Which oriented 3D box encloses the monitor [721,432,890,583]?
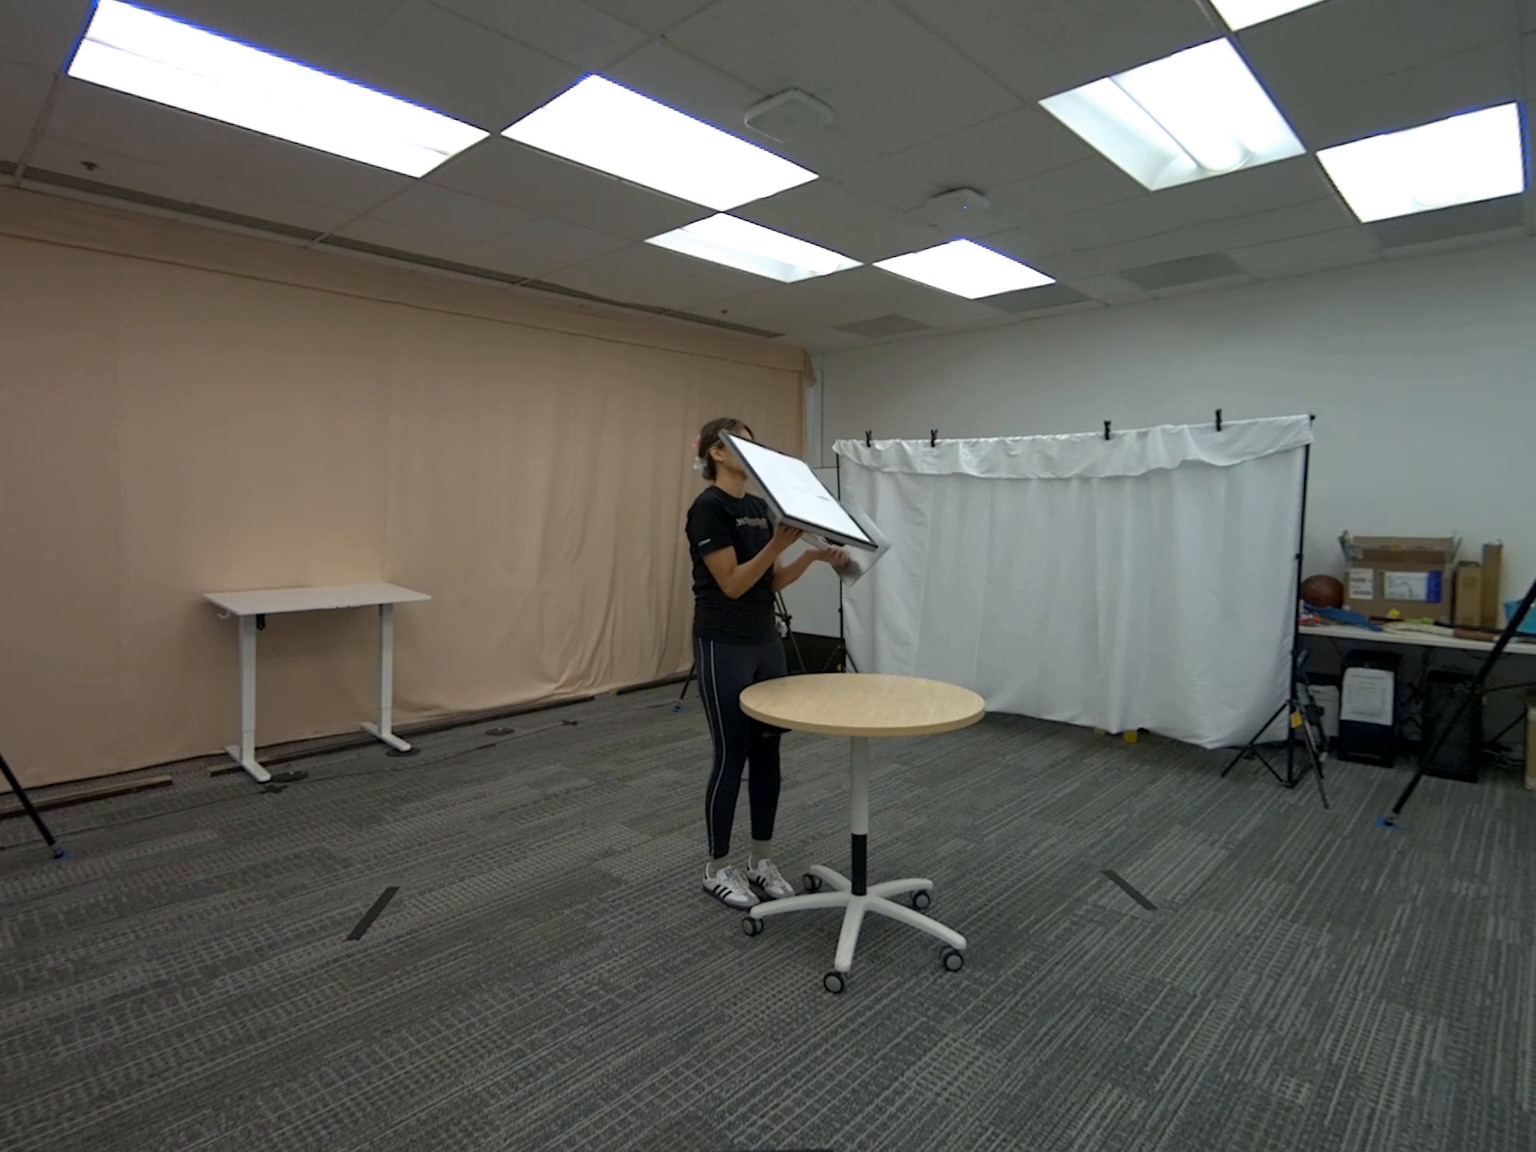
[{"bbox_3d":[0.132,-0.212,2.705,0.505,0.187,0.556,33,14,-36],"label":"monitor"}]
